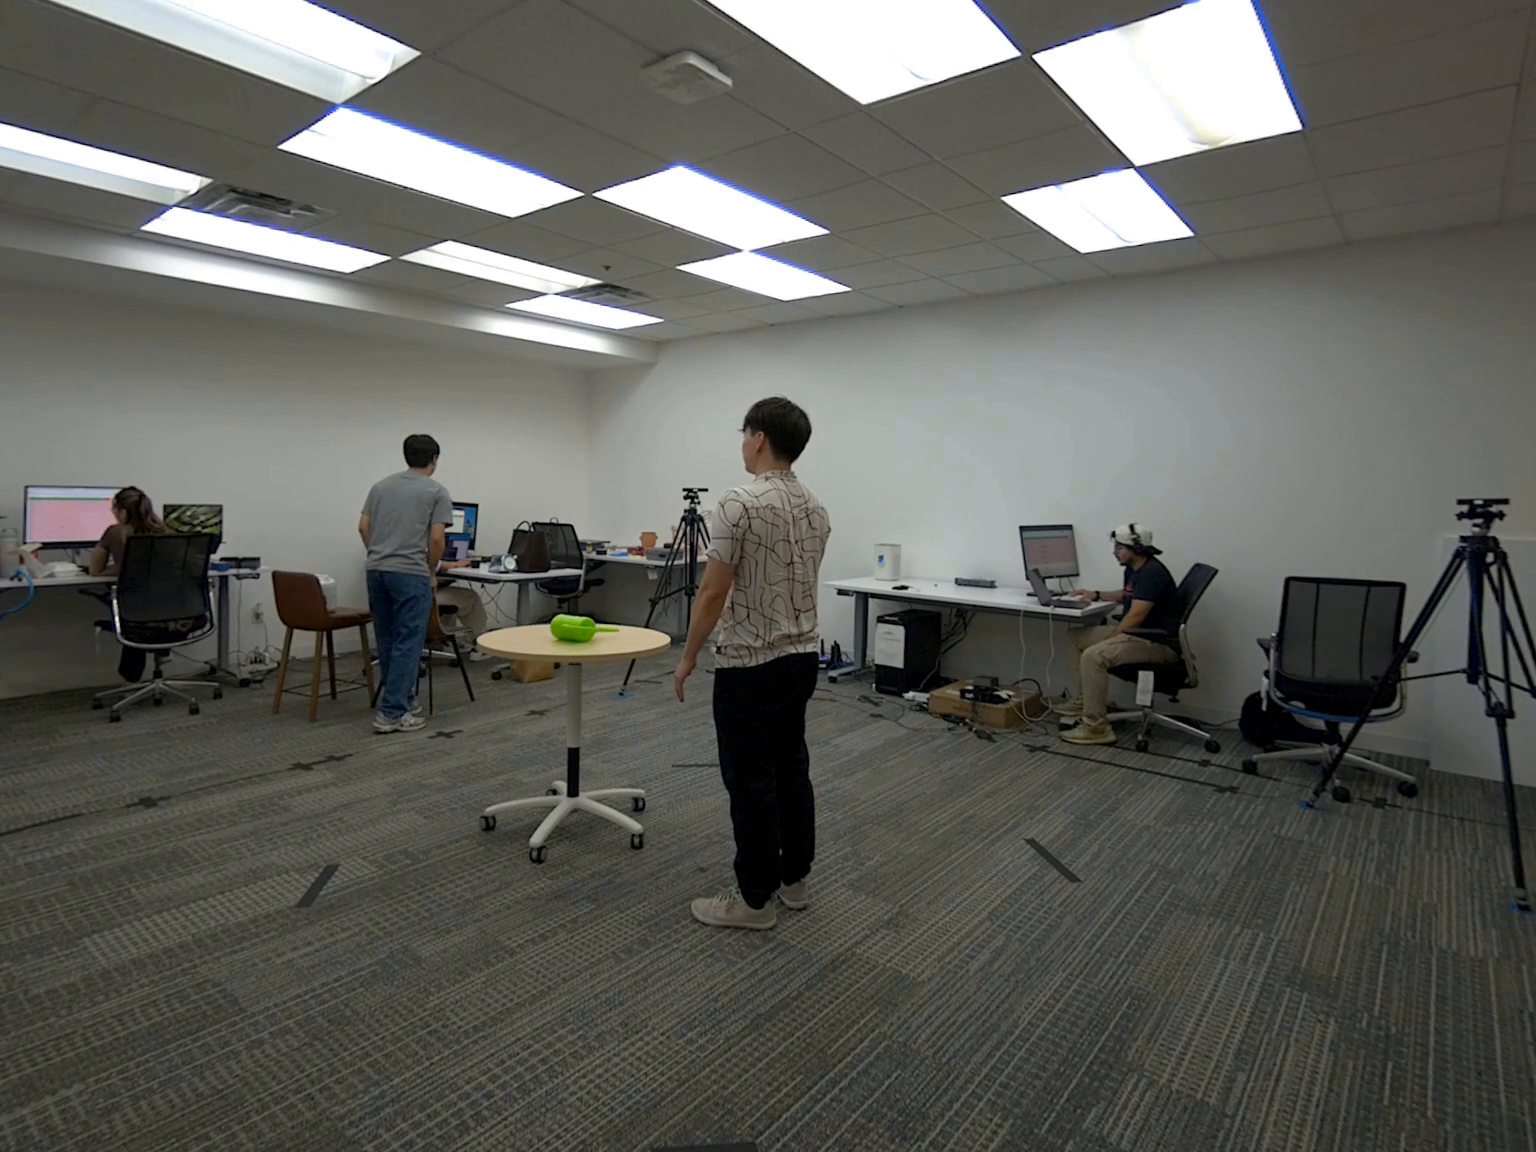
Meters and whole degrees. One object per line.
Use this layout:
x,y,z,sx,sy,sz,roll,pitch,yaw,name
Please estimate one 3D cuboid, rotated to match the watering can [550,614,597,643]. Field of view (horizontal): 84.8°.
-0.749,0.218,3.391,0.181,0.099,0.268,4,-16,23,watering can
